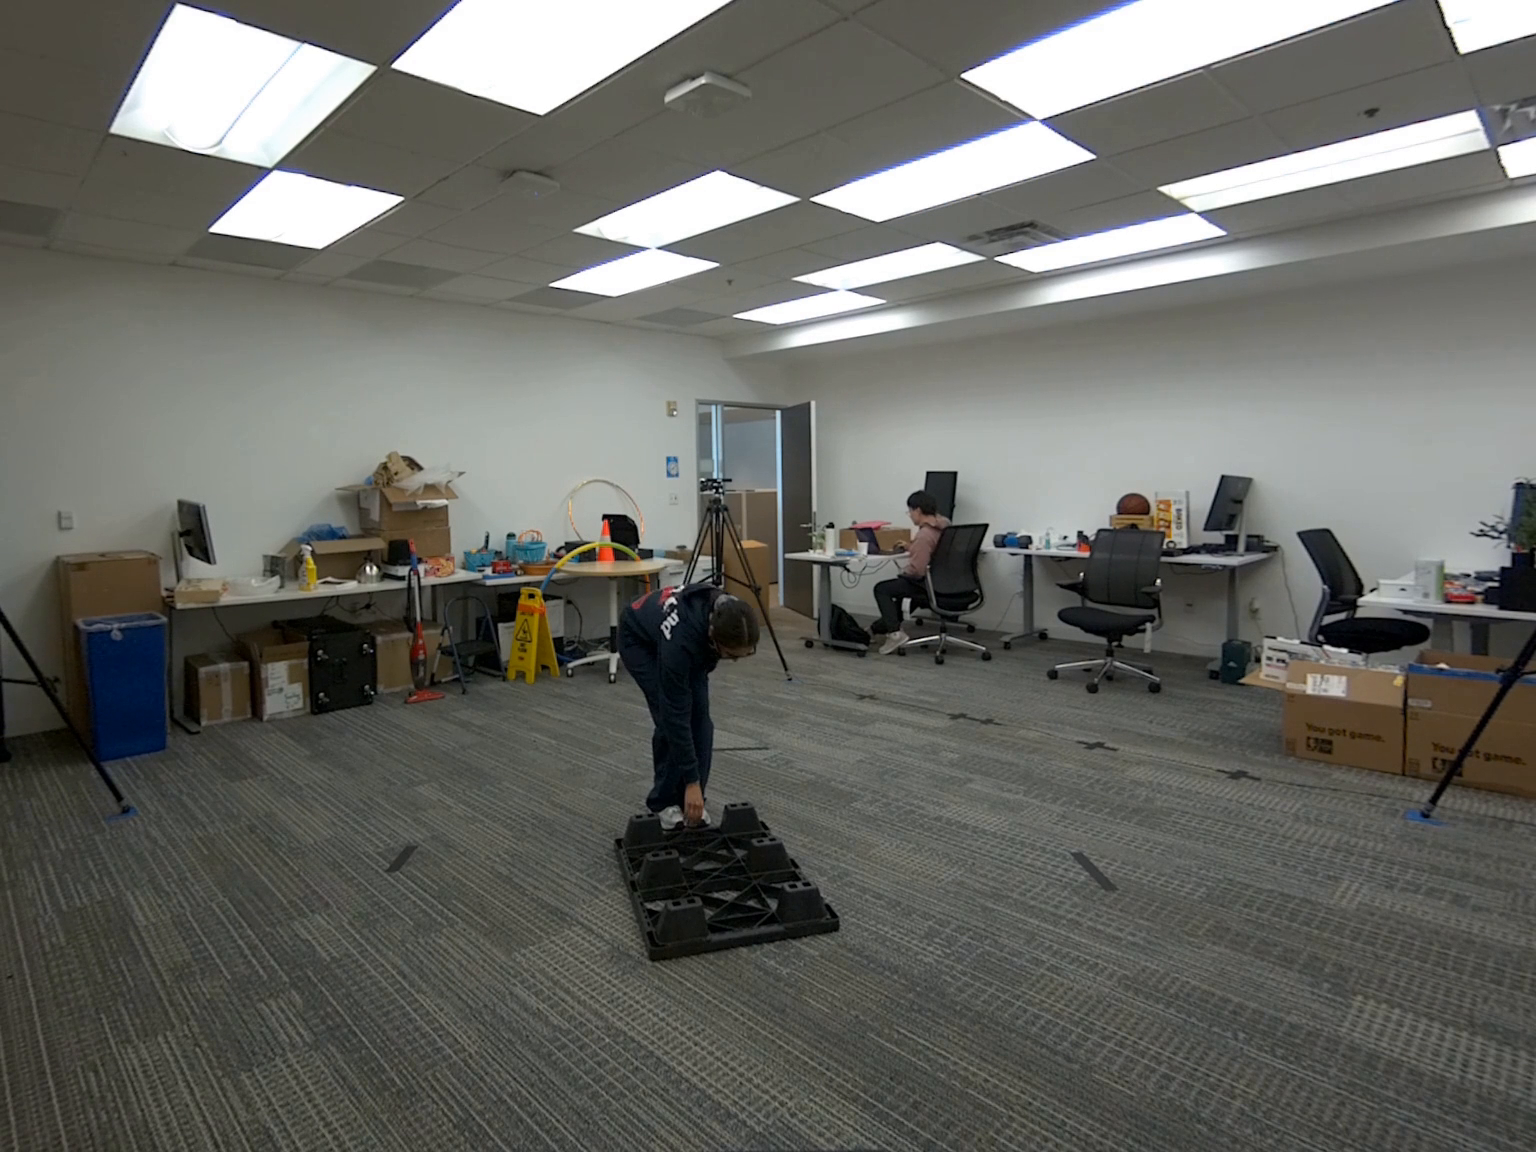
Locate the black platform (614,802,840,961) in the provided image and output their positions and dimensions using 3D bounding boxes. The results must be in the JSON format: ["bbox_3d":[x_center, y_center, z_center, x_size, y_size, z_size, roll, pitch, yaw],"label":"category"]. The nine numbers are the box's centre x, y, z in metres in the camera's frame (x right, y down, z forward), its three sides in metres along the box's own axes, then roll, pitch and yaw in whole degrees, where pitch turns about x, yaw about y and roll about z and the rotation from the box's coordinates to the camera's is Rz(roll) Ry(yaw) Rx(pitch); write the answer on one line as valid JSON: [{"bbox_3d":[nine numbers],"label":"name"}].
[{"bbox_3d":[-0.176,0.995,2.933,0.596,0.142,0.822,-4,7,-17],"label":"black platform"}]
